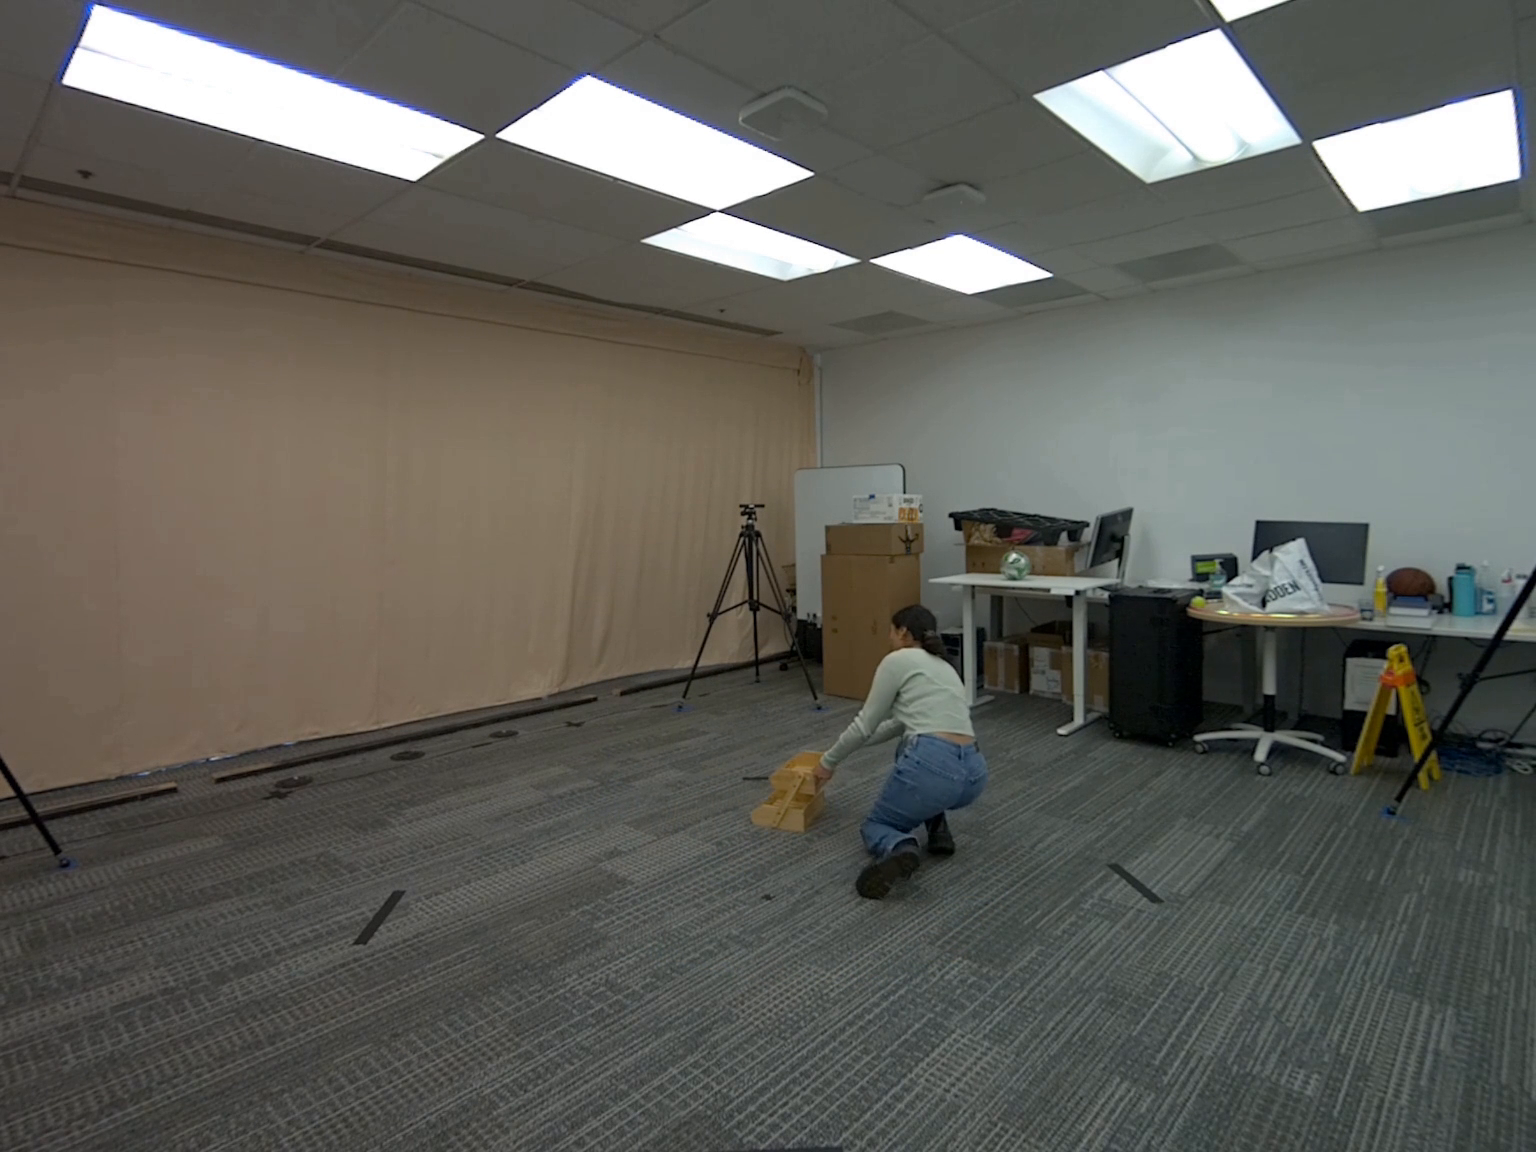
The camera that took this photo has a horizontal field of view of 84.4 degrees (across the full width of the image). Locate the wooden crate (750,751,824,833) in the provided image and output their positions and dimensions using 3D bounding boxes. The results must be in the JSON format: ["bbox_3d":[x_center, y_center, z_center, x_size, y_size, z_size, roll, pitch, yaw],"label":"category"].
[{"bbox_3d":[0.106,0.940,3.744,0.309,0.273,0.318,1,4,22],"label":"wooden crate"}]
